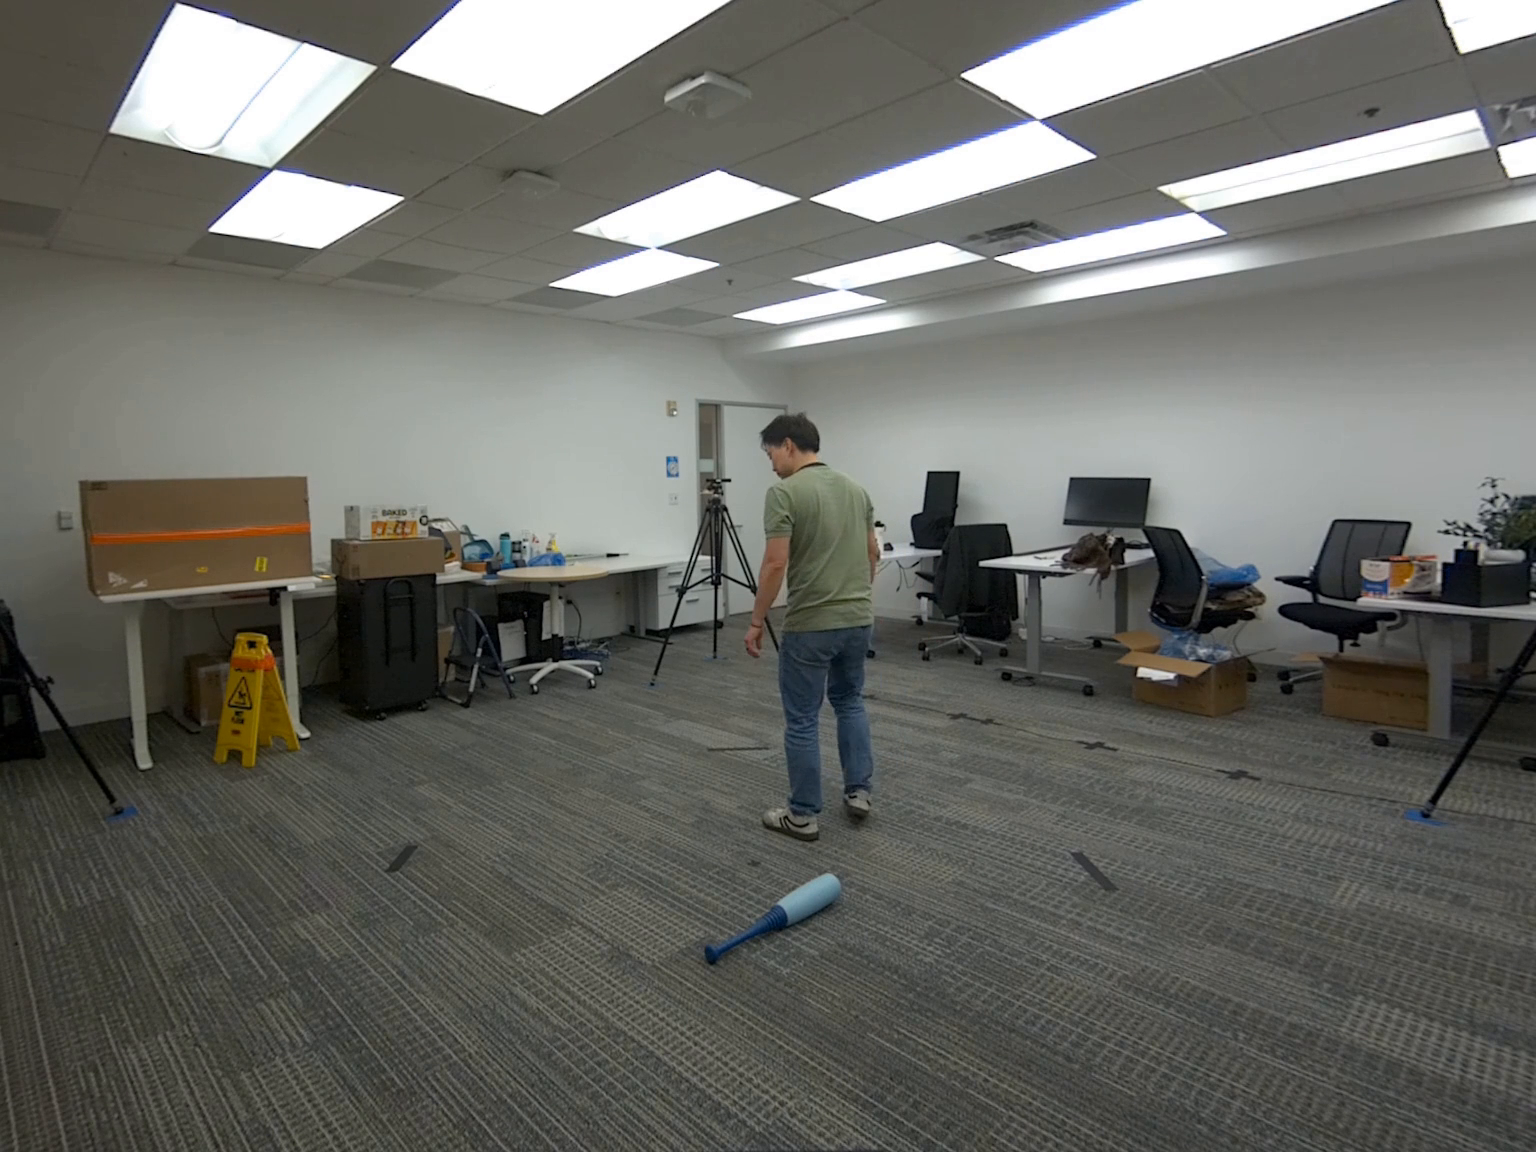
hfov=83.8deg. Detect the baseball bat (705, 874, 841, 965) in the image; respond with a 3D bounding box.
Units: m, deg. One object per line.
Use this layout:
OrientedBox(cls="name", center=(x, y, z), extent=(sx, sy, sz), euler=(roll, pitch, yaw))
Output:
OrientedBox(cls="baseball bat", center=(0.031, 1.065, 2.638), extent=(0.530, 0.088, 0.092), euler=(-13, 11, -42))
